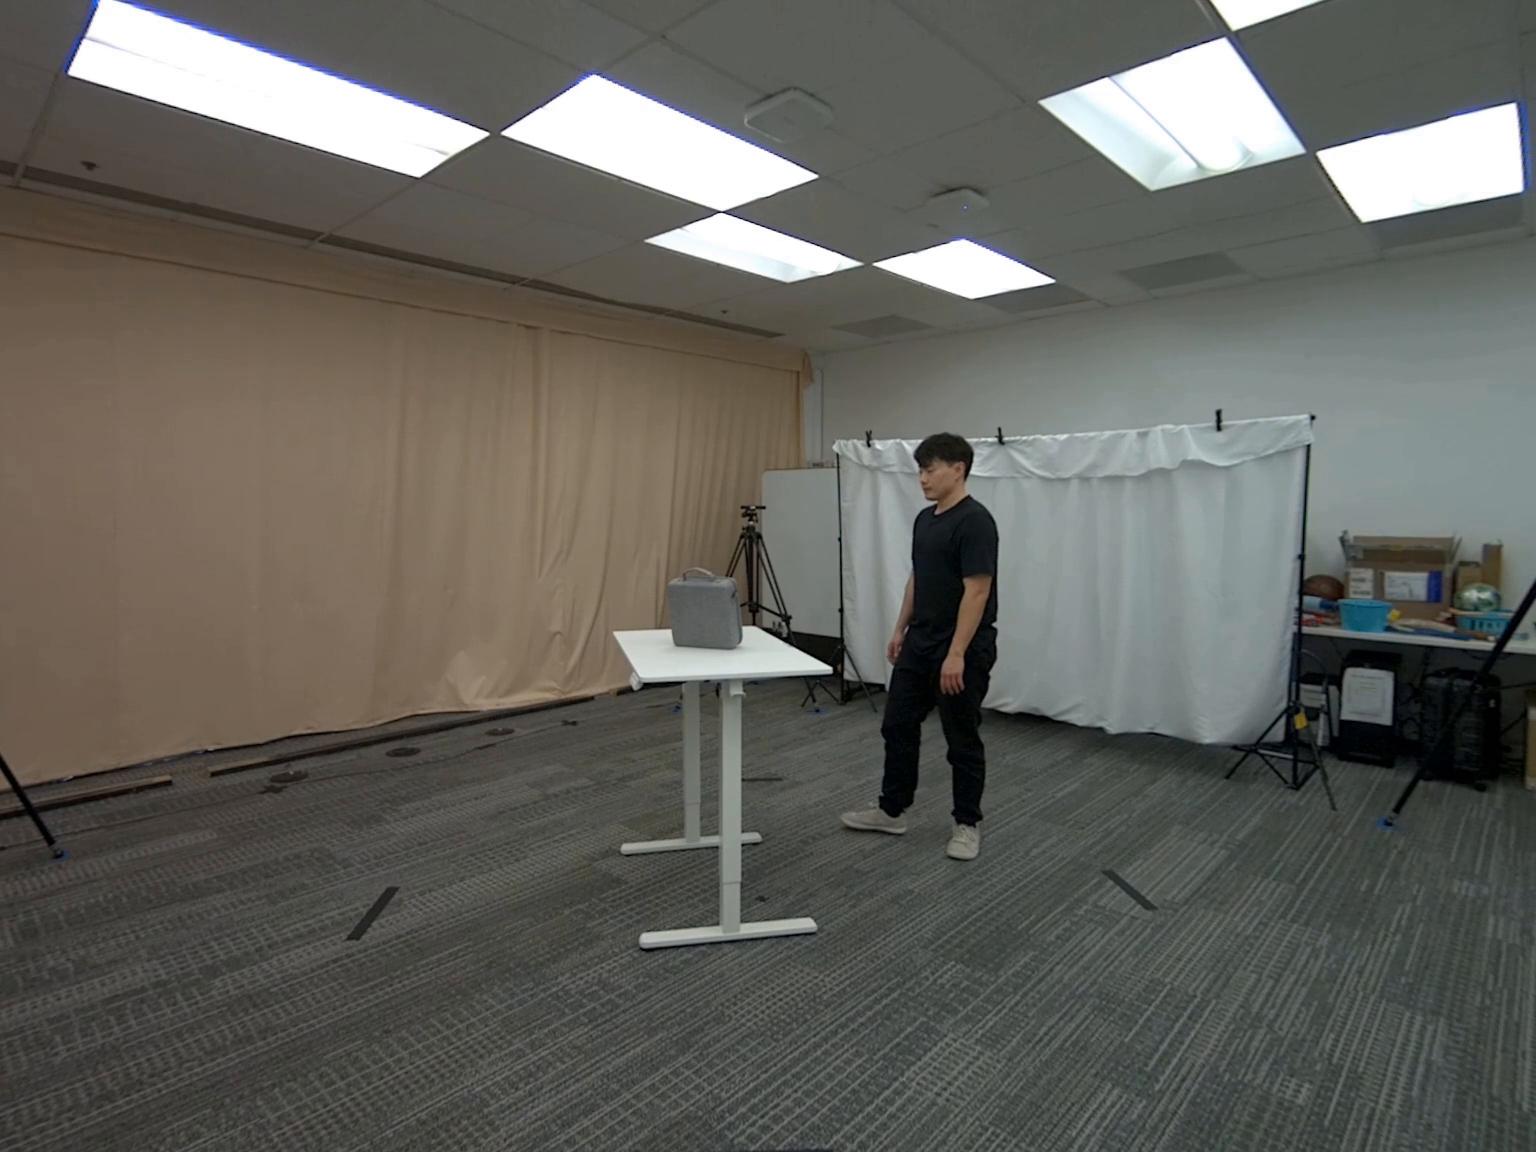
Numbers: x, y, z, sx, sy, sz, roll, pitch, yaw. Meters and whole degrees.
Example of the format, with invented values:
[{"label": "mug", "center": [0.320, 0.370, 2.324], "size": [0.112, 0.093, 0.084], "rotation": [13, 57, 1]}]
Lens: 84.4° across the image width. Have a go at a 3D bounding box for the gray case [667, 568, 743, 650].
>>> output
[{"label": "gray case", "center": [-0.223, 0.130, 3.040], "size": [0.263, 0.258, 0.103], "rotation": [0, 13, 23]}]
